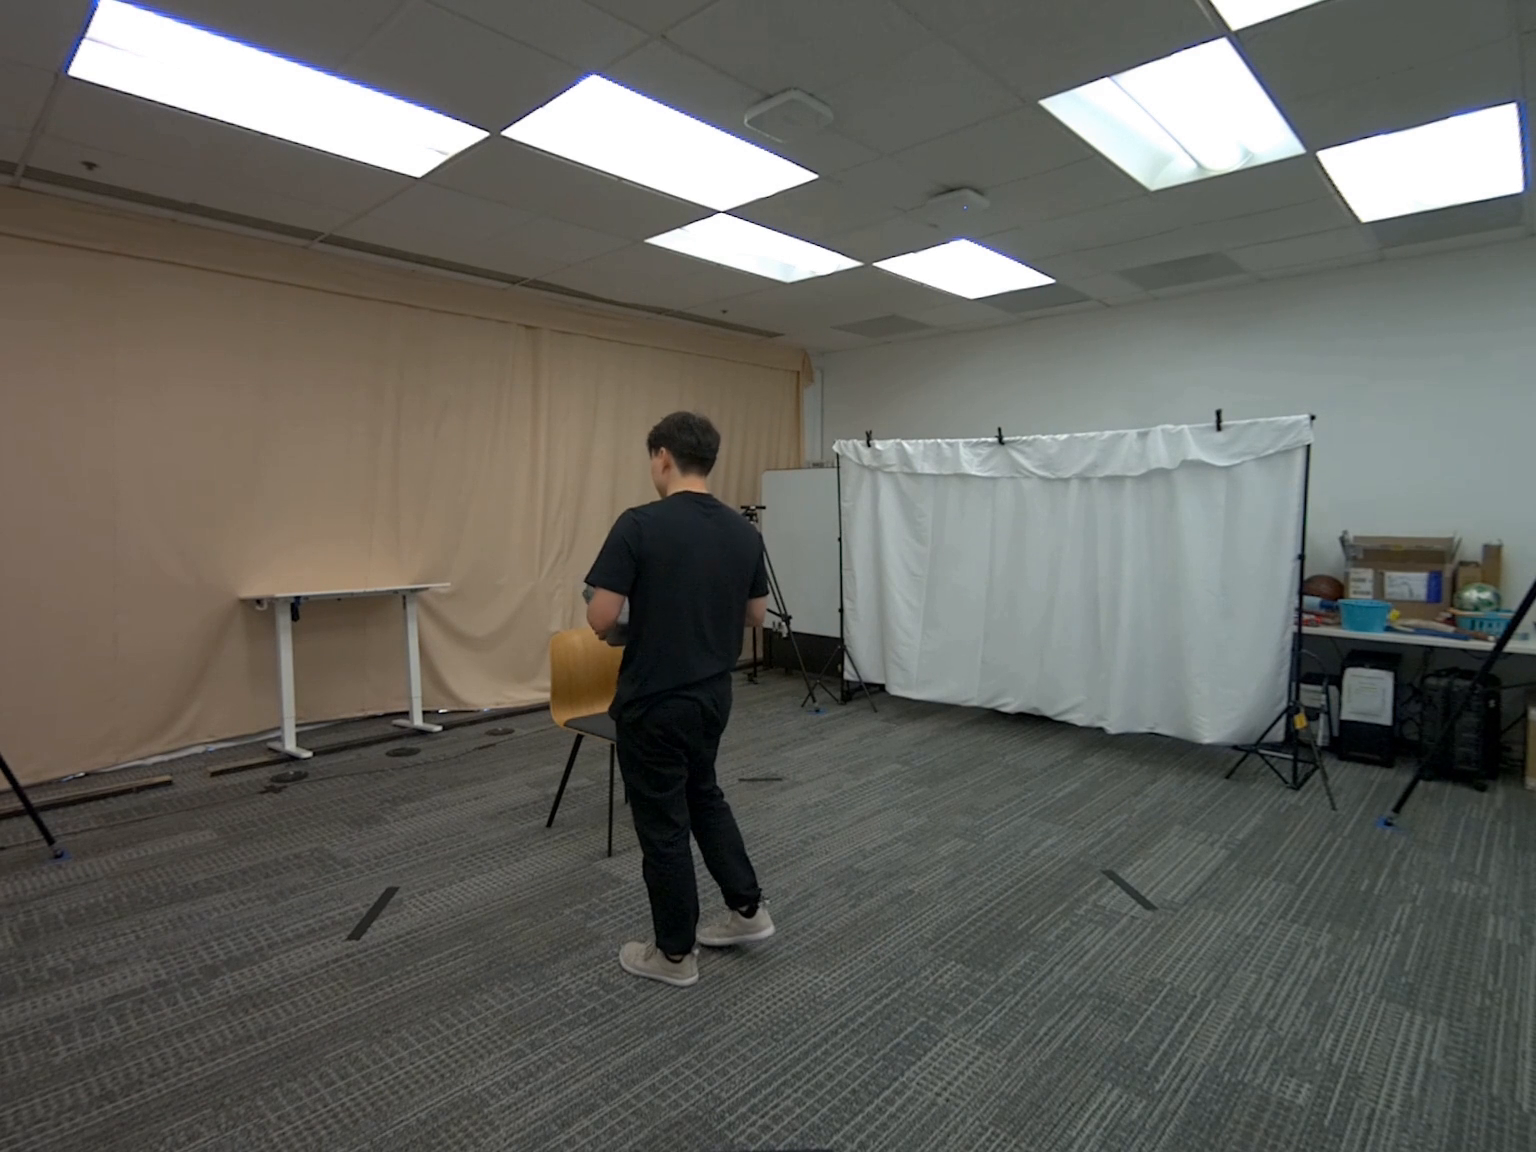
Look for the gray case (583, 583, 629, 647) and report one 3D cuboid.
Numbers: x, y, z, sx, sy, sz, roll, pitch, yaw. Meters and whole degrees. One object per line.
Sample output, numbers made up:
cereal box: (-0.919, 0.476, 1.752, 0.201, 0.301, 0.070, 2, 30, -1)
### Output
gray case: (-0.430, 0.099, 2.678, 0.249, 0.104, 0.269, -1, 41, -36)
